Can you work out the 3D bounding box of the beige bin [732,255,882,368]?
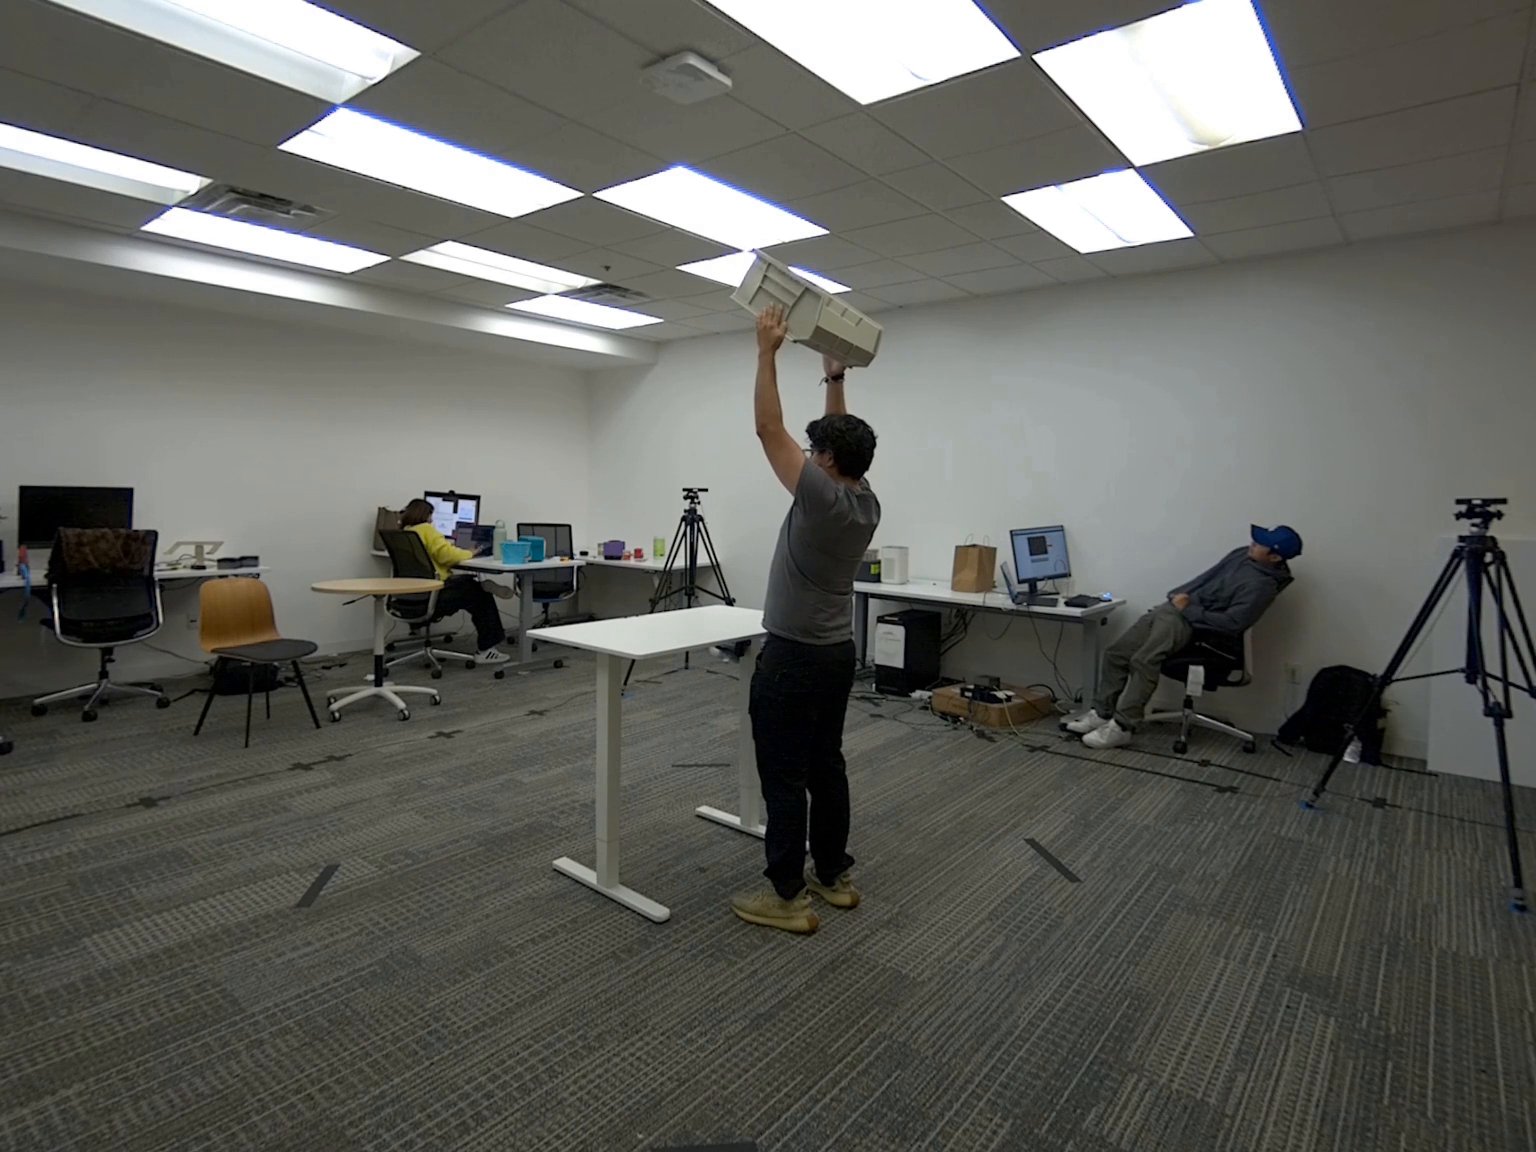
[{"bbox_3d":[0.132,-0.893,2.905,0.392,0.188,0.409,42,22,29],"label":"beige bin"}]
